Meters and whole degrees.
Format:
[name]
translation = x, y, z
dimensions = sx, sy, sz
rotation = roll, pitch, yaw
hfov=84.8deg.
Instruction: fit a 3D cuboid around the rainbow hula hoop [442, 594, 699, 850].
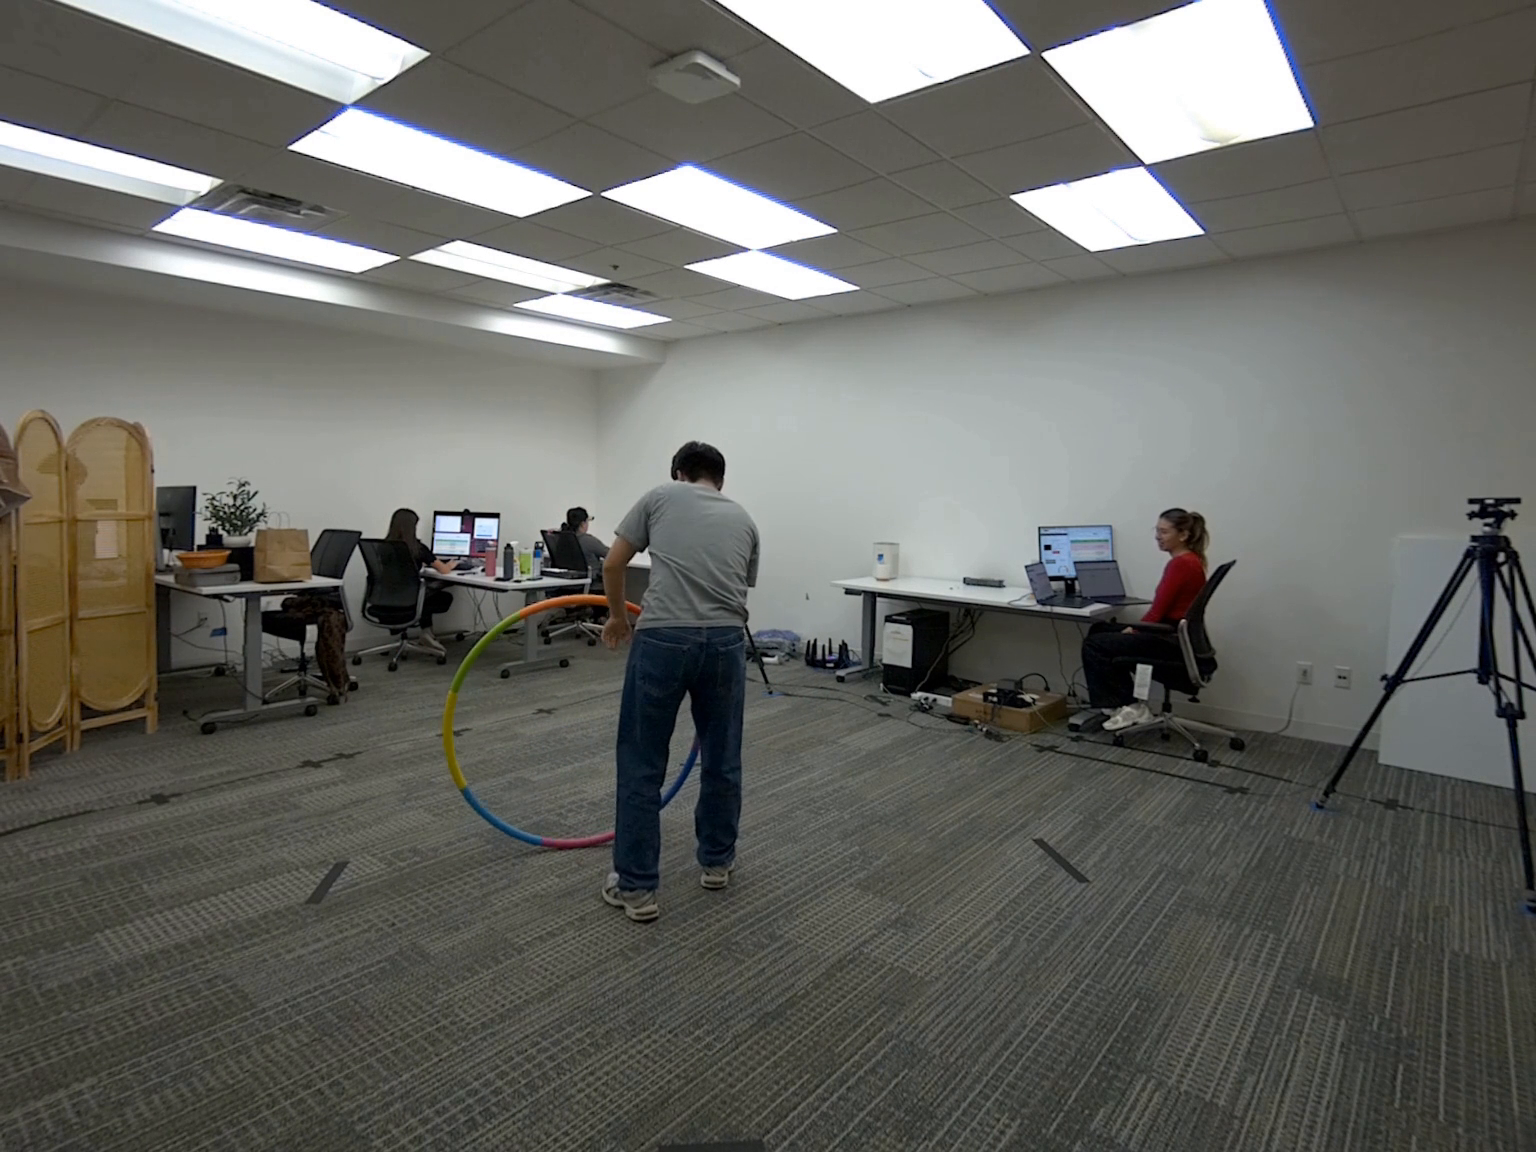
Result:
[rainbow hula hoop]
translation = -0.716, 0.556, 3.211
dimensions = 0.963, 0.972, 0.036
rotation = 0, 7, -15
